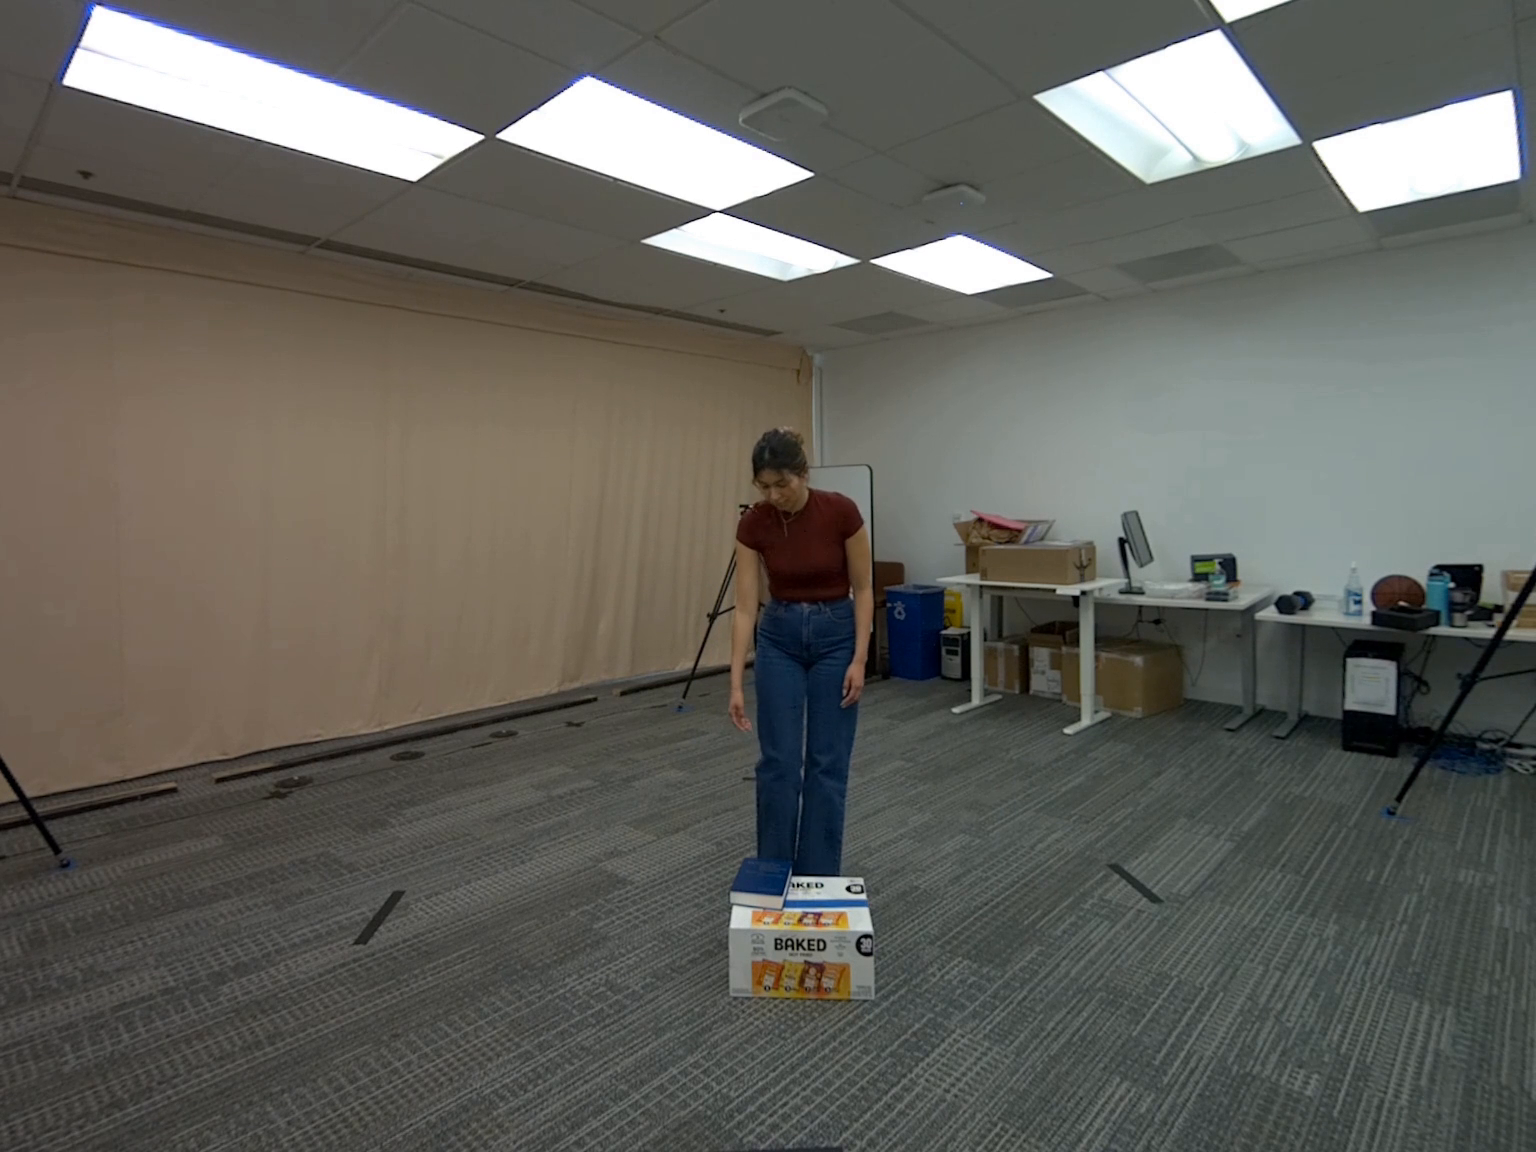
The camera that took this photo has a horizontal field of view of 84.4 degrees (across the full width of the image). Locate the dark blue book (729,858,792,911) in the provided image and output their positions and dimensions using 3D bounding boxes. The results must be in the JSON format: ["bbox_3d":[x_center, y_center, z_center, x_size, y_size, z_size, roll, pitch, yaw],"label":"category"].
[{"bbox_3d":[-0.019,0.938,2.613,0.165,0.045,0.243,1,5,10],"label":"dark blue book"}]
